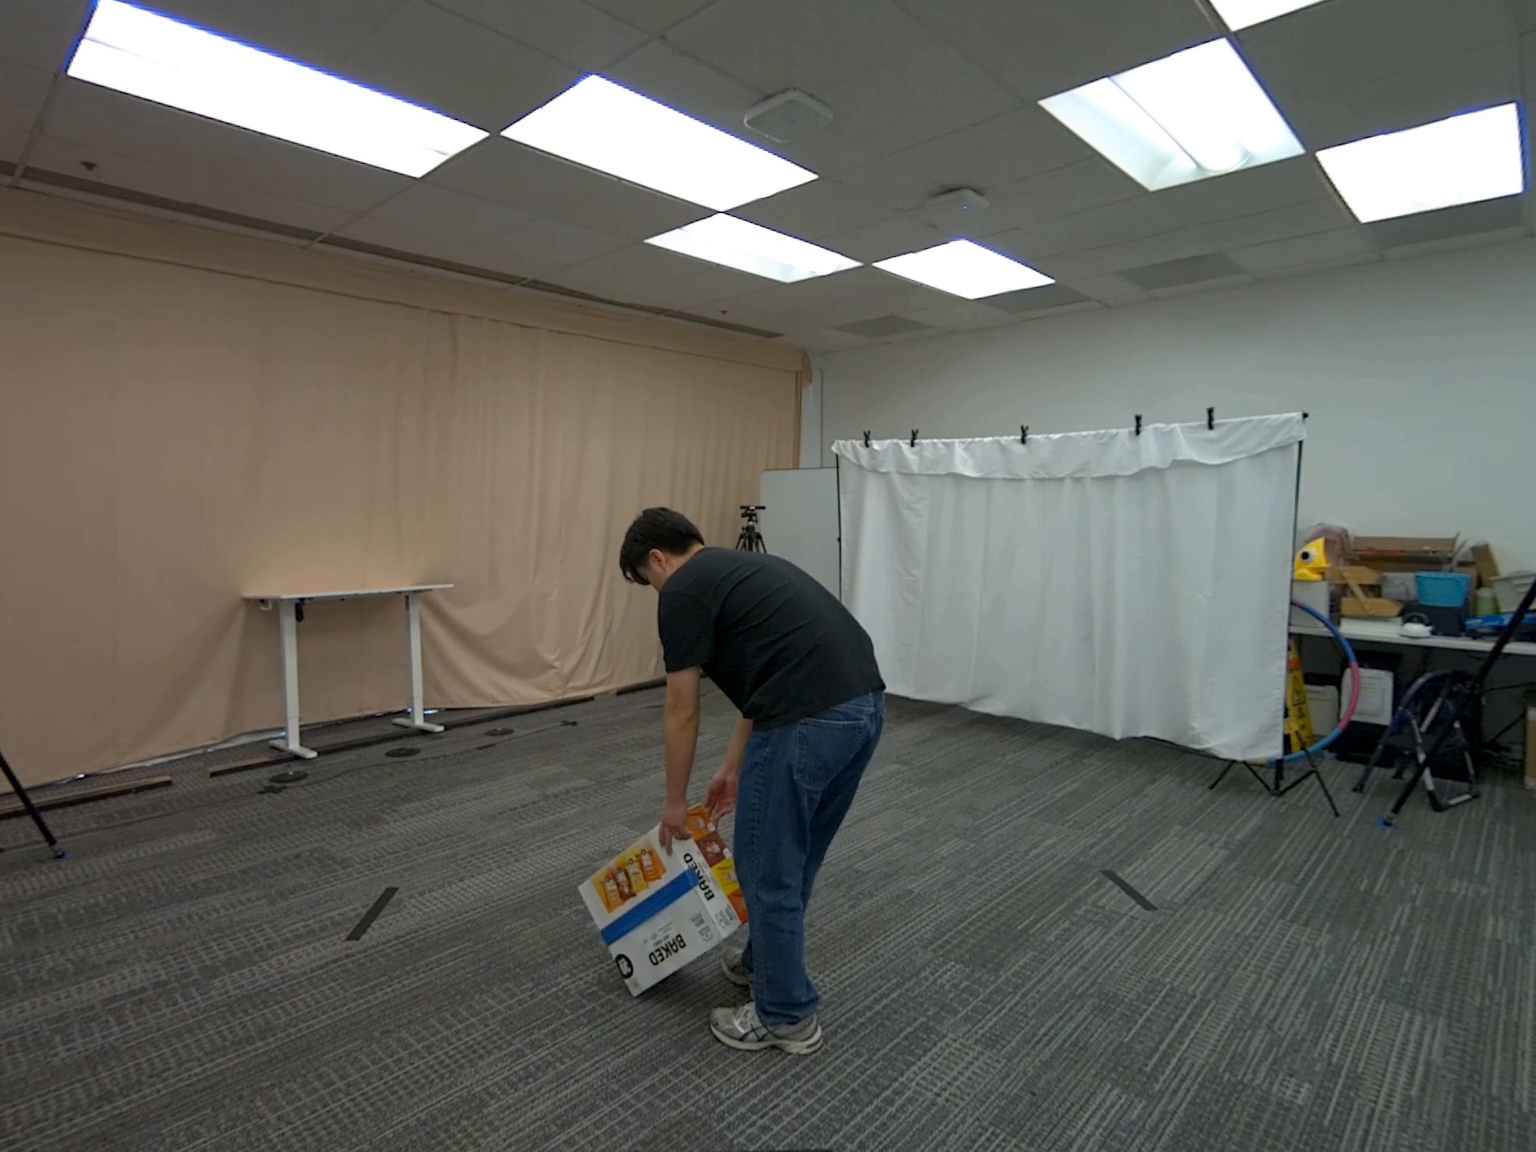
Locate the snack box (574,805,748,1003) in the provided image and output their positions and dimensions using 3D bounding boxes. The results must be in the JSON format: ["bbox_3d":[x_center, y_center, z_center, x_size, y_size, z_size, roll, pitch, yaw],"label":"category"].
[{"bbox_3d":[-0.291,0.934,2.431,0.408,0.347,0.200,-43,-20,27],"label":"snack box"}]
